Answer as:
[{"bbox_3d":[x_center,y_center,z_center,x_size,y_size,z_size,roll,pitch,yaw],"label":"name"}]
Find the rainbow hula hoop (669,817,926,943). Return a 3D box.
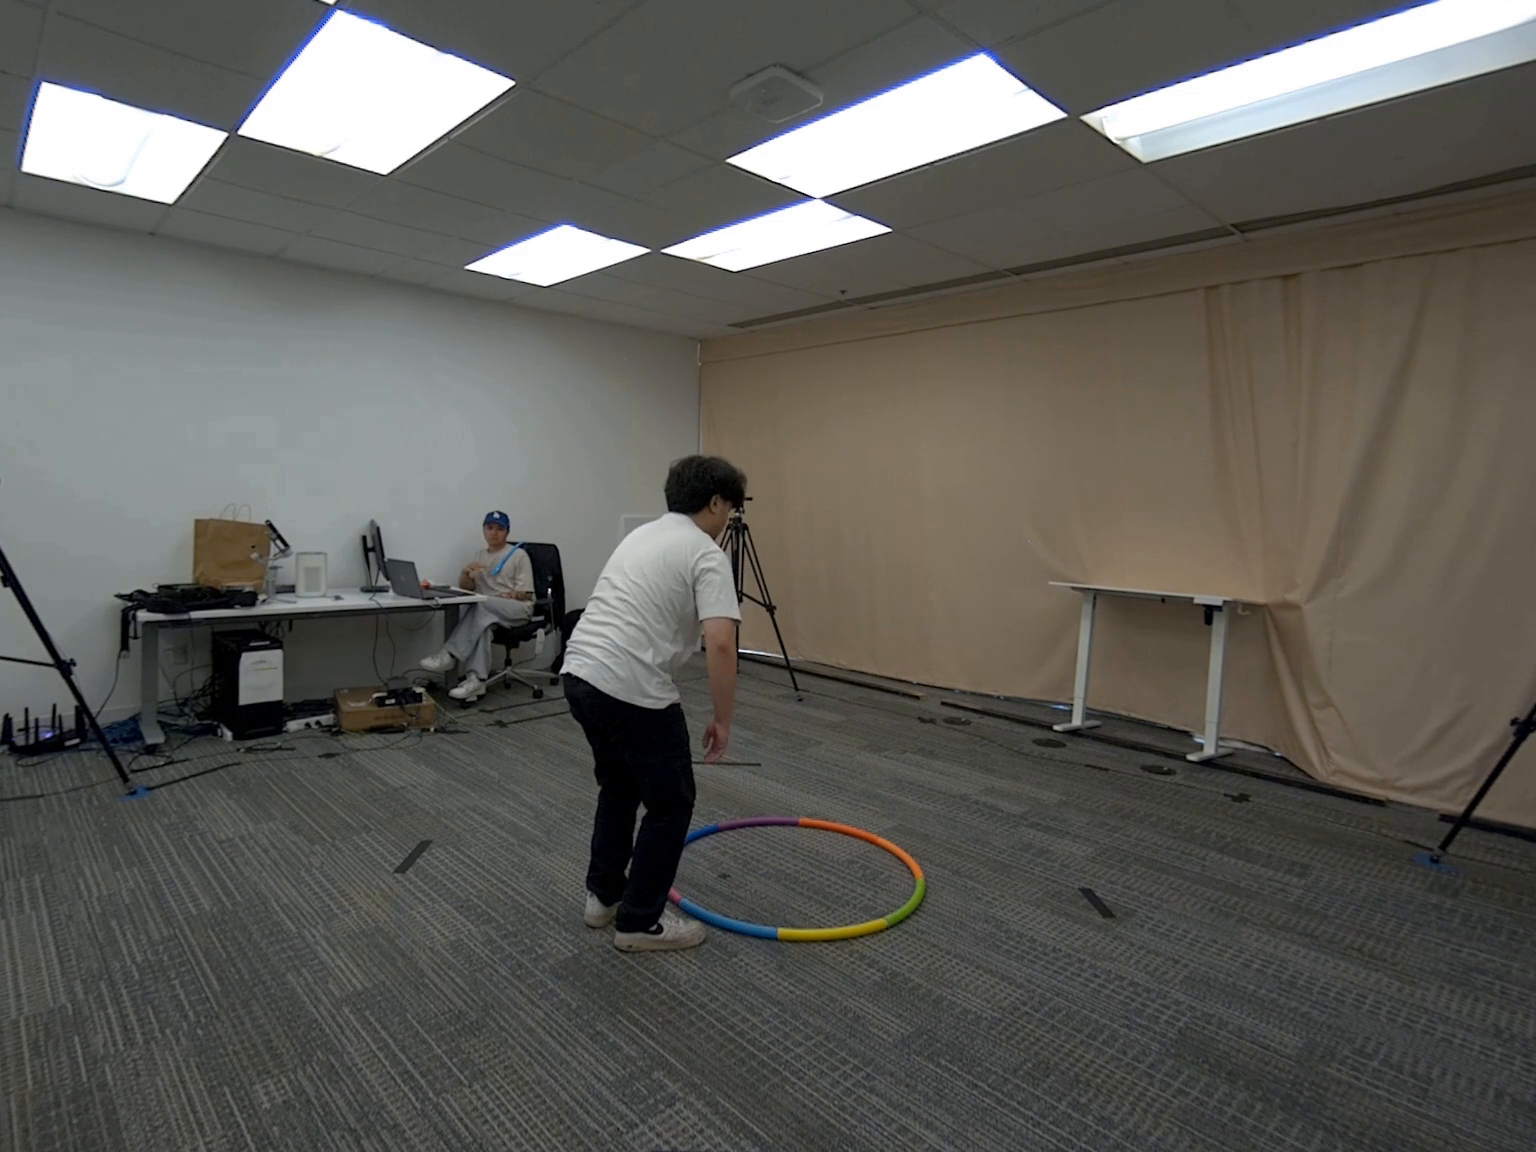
[{"bbox_3d":[0.076,1.084,3.134,0.985,0.051,0.989,1,5,-1],"label":"rainbow hula hoop"}]
